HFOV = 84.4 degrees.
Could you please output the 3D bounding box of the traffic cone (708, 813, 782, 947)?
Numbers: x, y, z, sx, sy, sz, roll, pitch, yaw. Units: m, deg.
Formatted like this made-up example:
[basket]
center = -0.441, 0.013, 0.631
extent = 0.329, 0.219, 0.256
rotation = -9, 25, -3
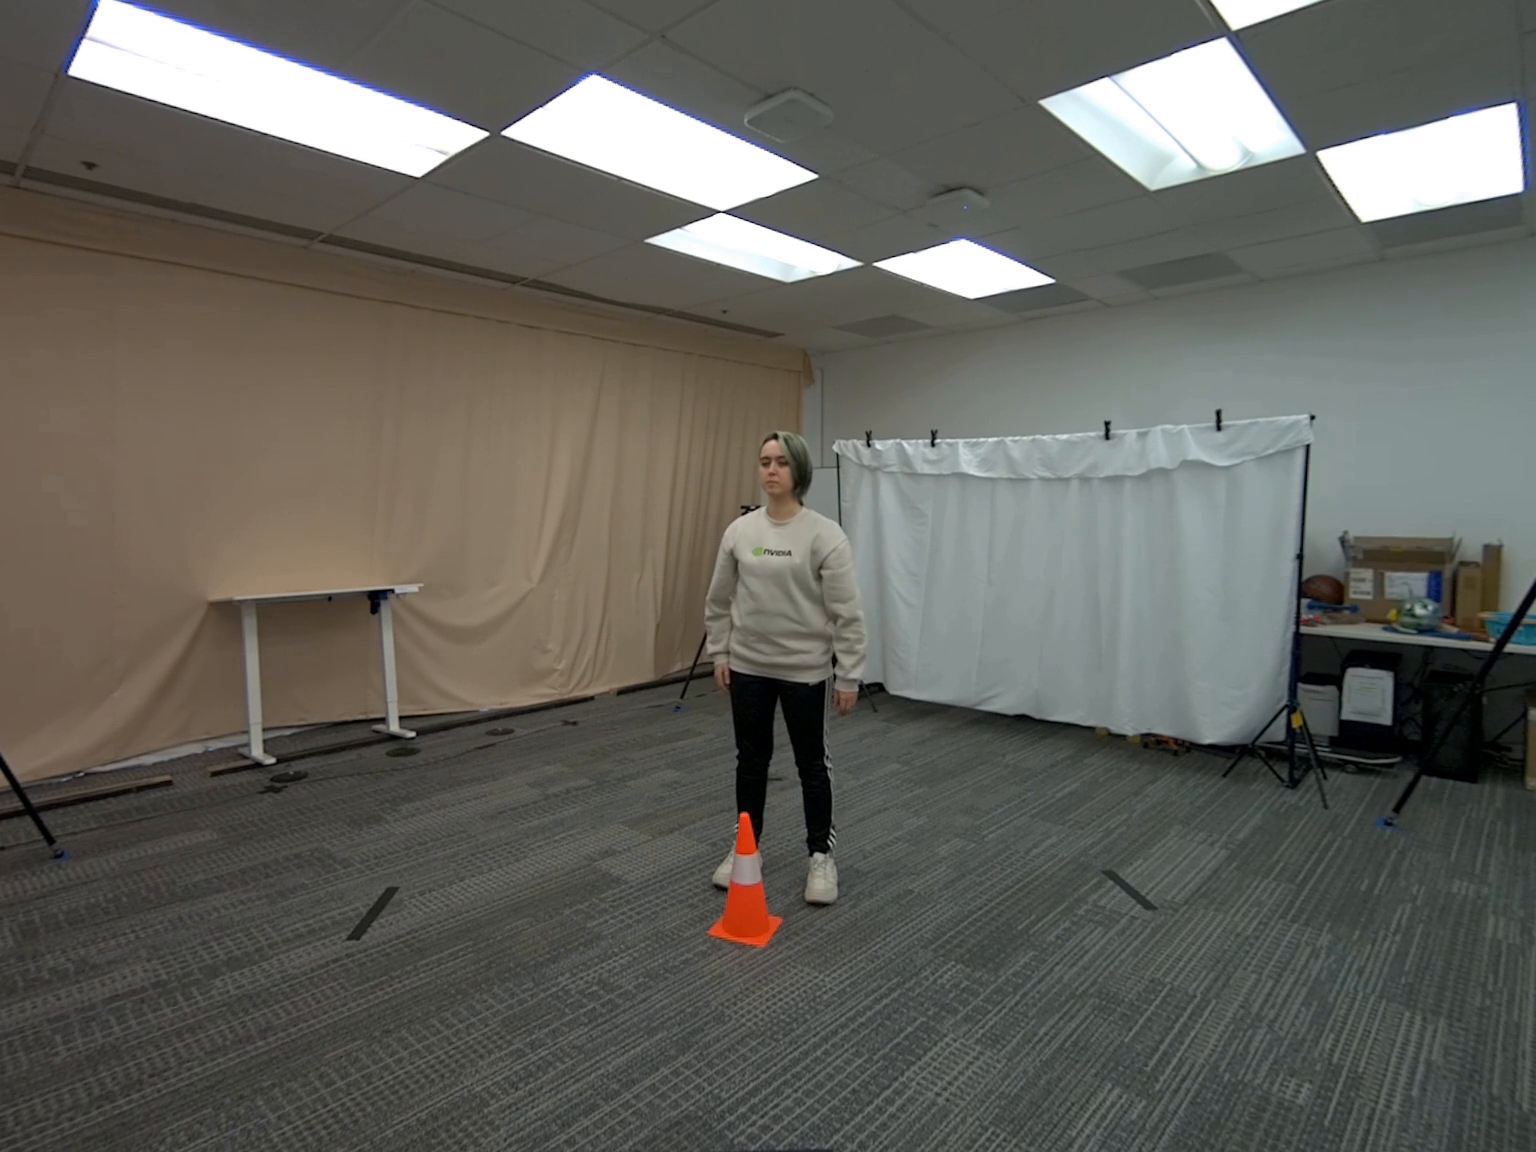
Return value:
[traffic cone]
center = -0.076, 0.973, 2.778
extent = 0.210, 0.383, 0.199
rotation = 0, 3, 23
